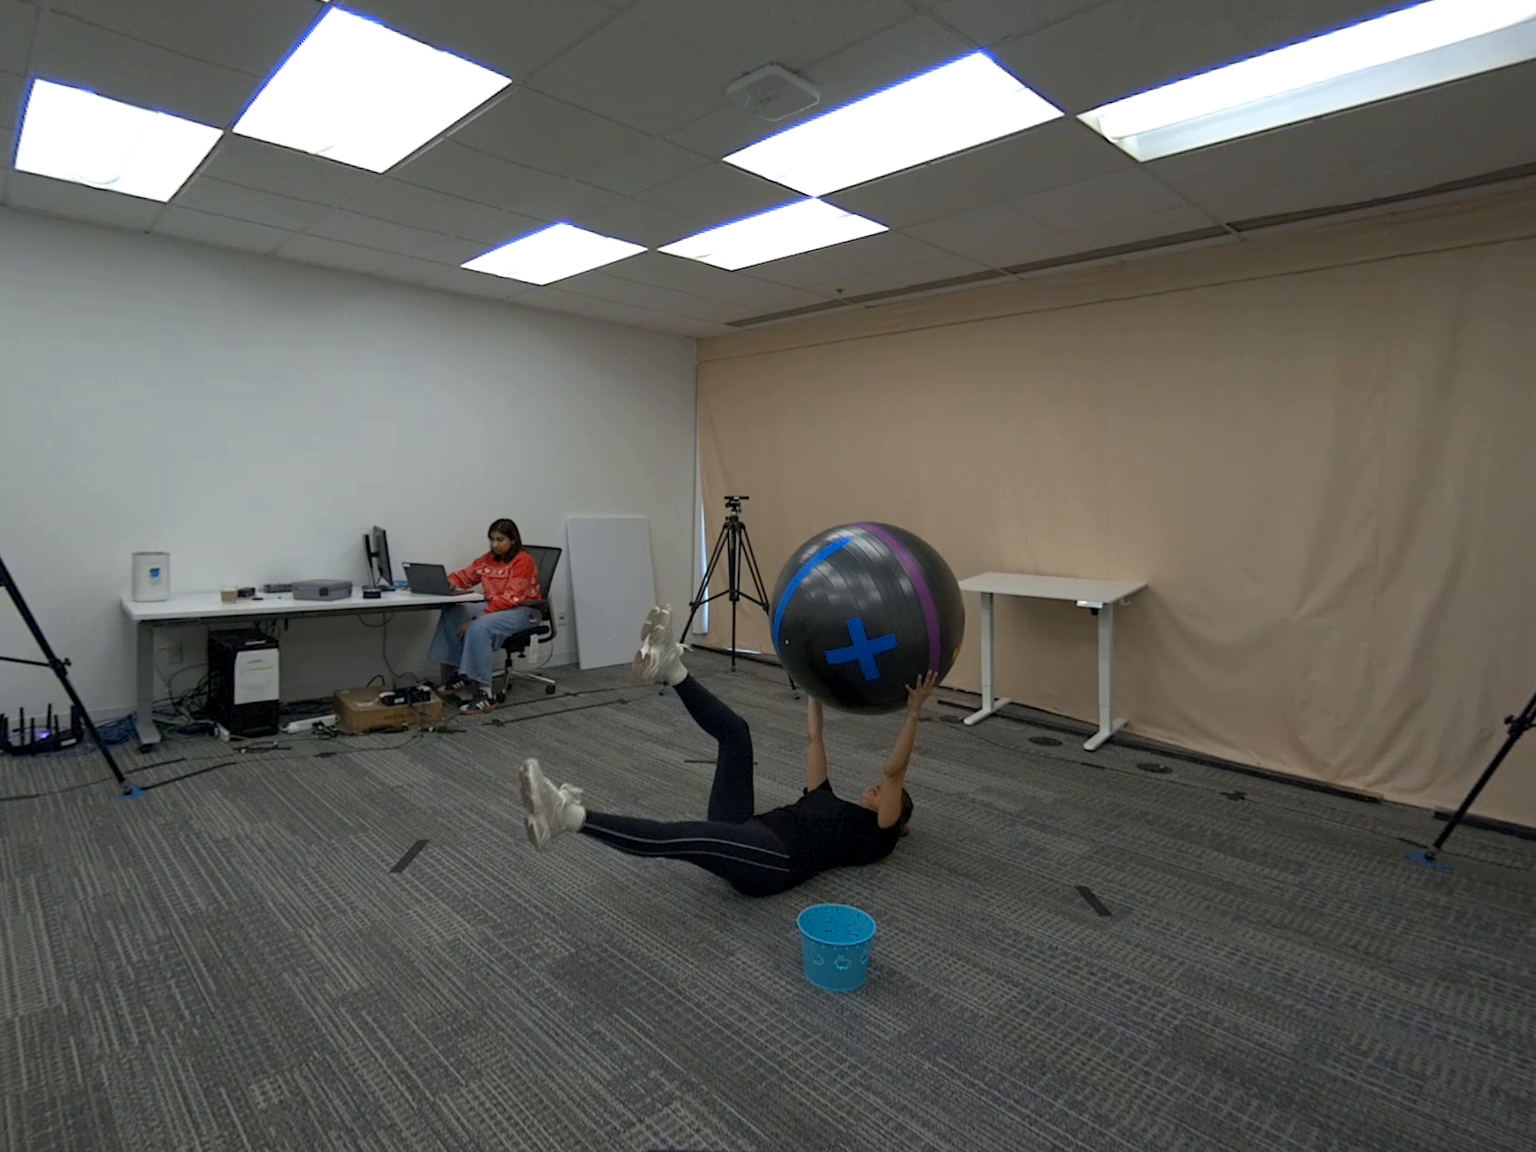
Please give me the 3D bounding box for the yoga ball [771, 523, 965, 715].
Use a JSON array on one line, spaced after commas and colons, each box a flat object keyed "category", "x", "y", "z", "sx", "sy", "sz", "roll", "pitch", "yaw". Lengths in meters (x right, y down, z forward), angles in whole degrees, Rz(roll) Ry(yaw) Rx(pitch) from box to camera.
[{"category": "yoga ball", "x": 0.384, "y": 0.167, "z": 3.315, "sx": 0.757, "sy": 0.754, "sz": 0.762, "roll": 0, "pitch": 7, "yaw": -1}]
